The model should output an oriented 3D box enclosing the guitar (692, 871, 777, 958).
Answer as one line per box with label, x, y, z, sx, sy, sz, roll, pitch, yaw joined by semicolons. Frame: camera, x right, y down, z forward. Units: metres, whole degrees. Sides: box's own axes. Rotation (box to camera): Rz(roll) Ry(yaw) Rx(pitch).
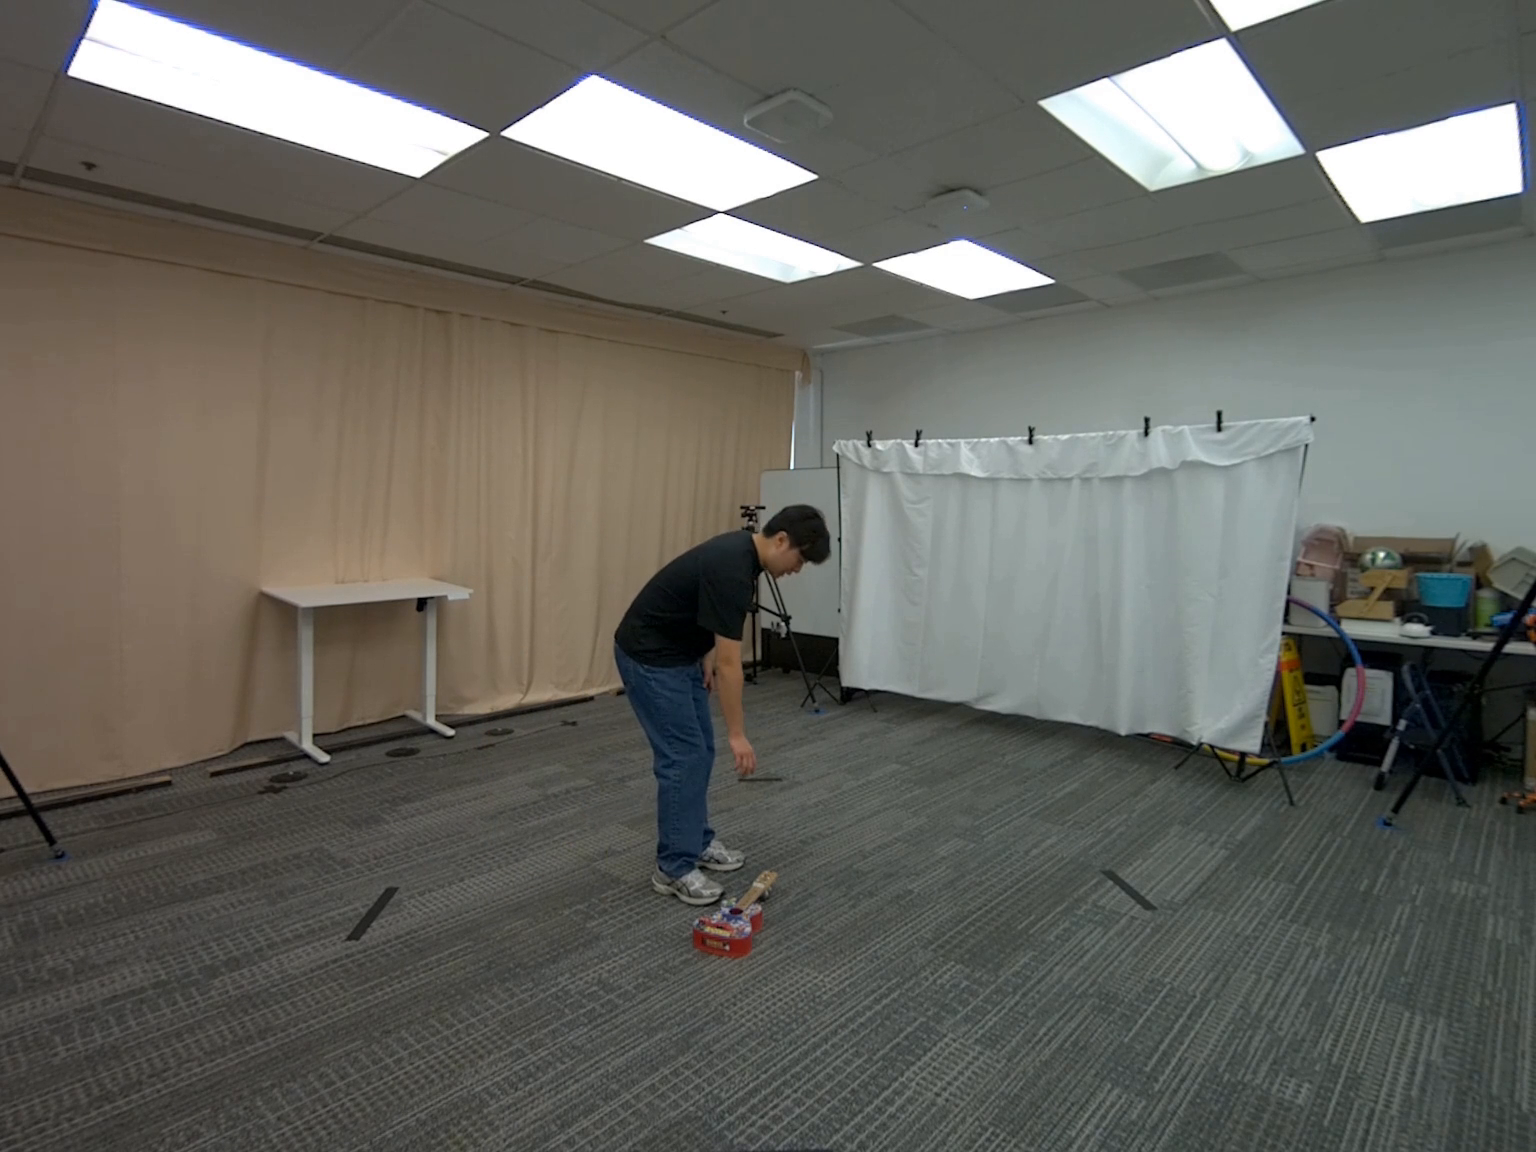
guitar;-0.051;1.125;2.818;0.199;0.070;0.484;3;7;32
